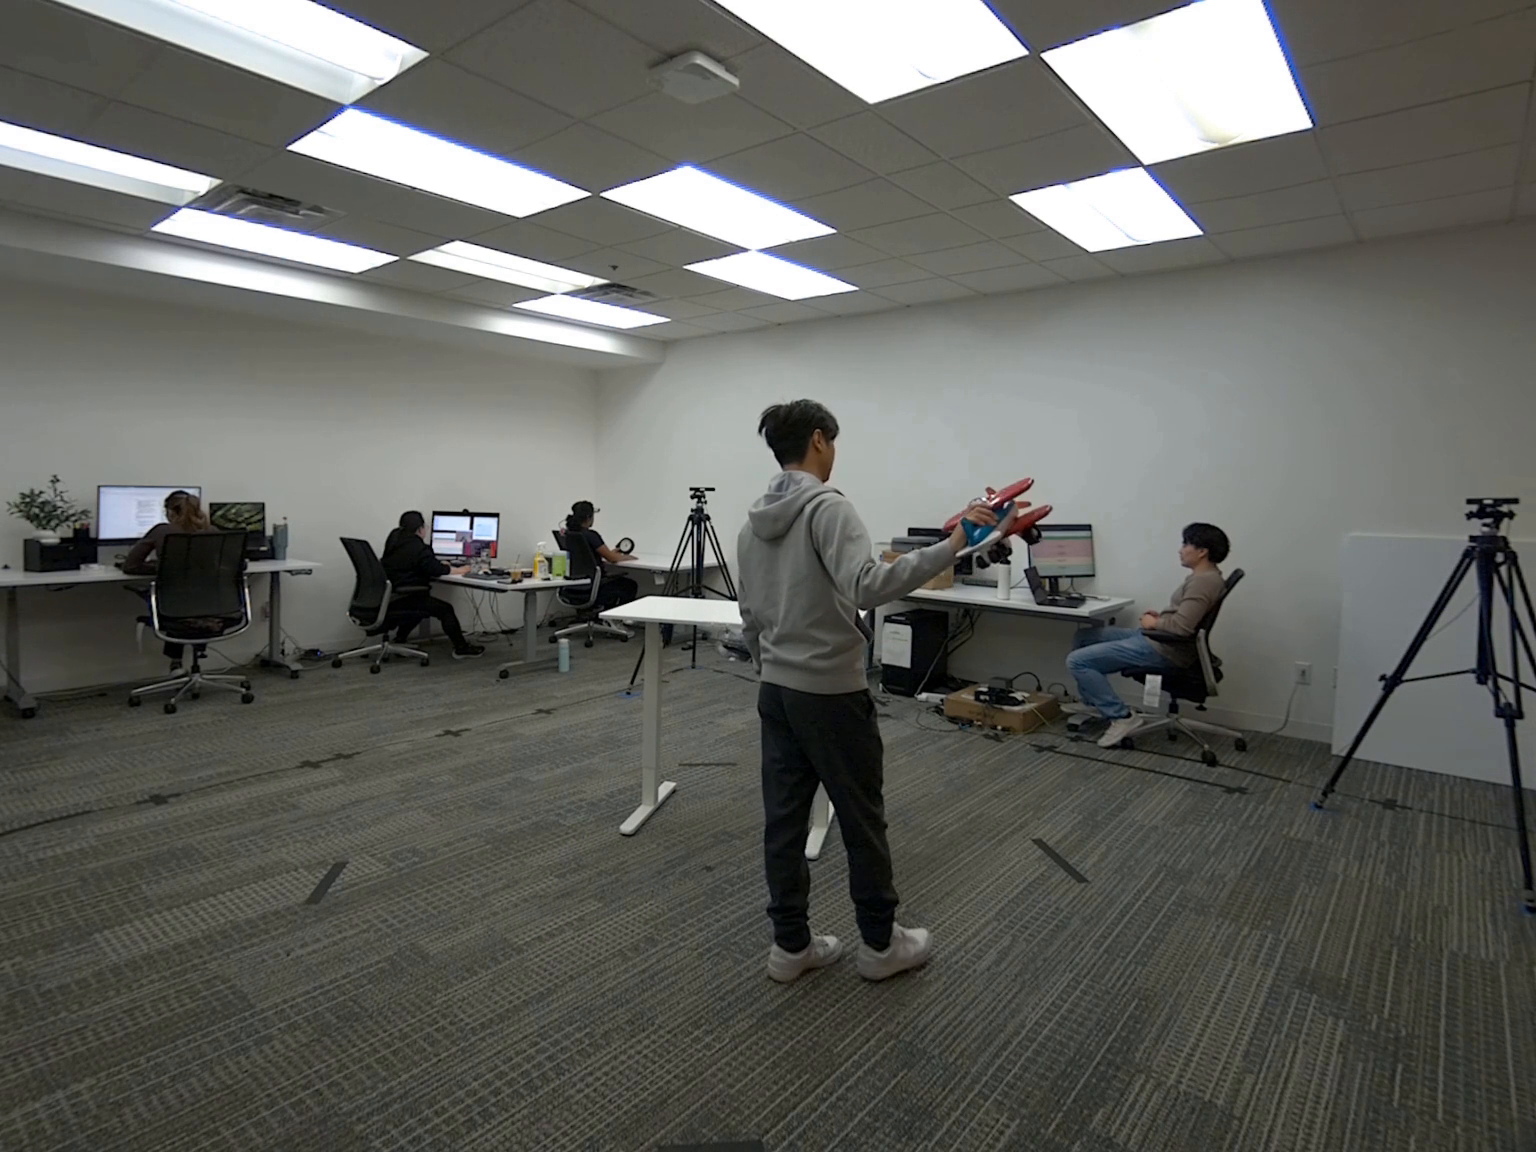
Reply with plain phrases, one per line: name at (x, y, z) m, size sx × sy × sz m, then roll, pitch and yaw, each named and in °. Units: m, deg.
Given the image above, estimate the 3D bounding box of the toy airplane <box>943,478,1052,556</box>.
toy airplane at (0.554, -0.116, 2.056) m, size 0.253 × 0.158 × 0.255 m, roll -26°, pitch -6°, yaw 12°
